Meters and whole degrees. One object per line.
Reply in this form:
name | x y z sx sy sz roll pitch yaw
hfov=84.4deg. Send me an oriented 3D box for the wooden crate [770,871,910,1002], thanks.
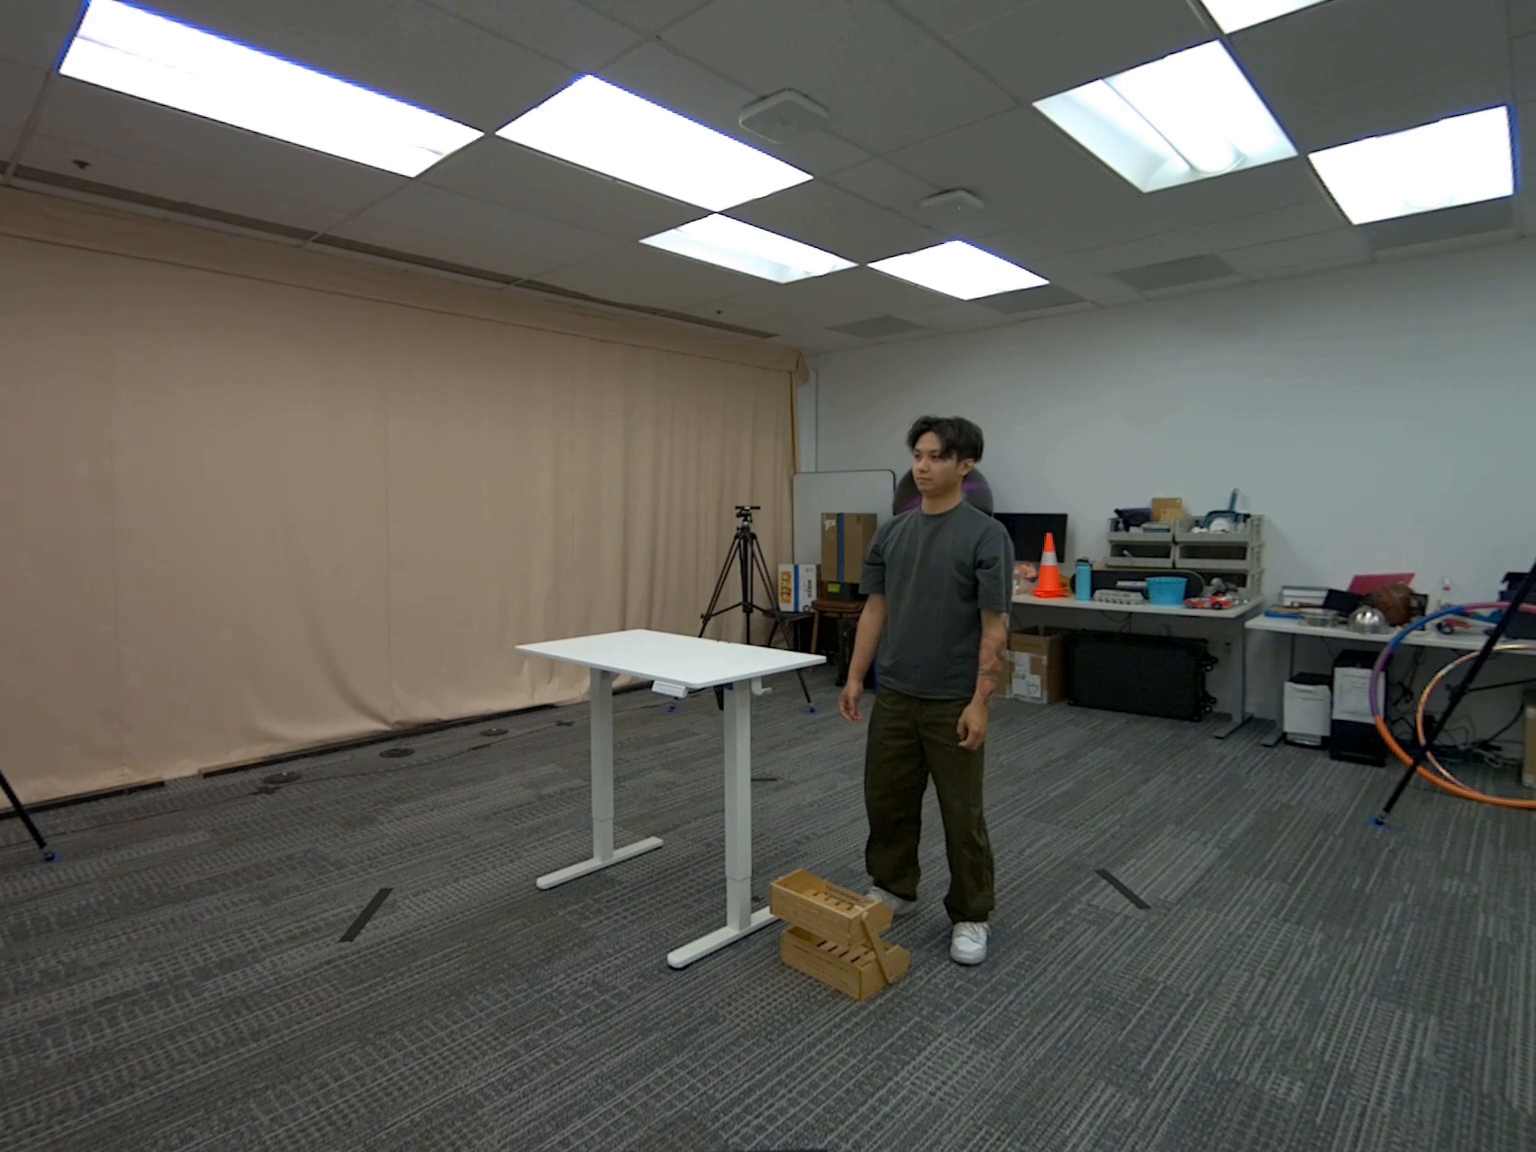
wooden crate | 0.225 1.047 2.528 0.335 0.272 0.293 4 6 44
